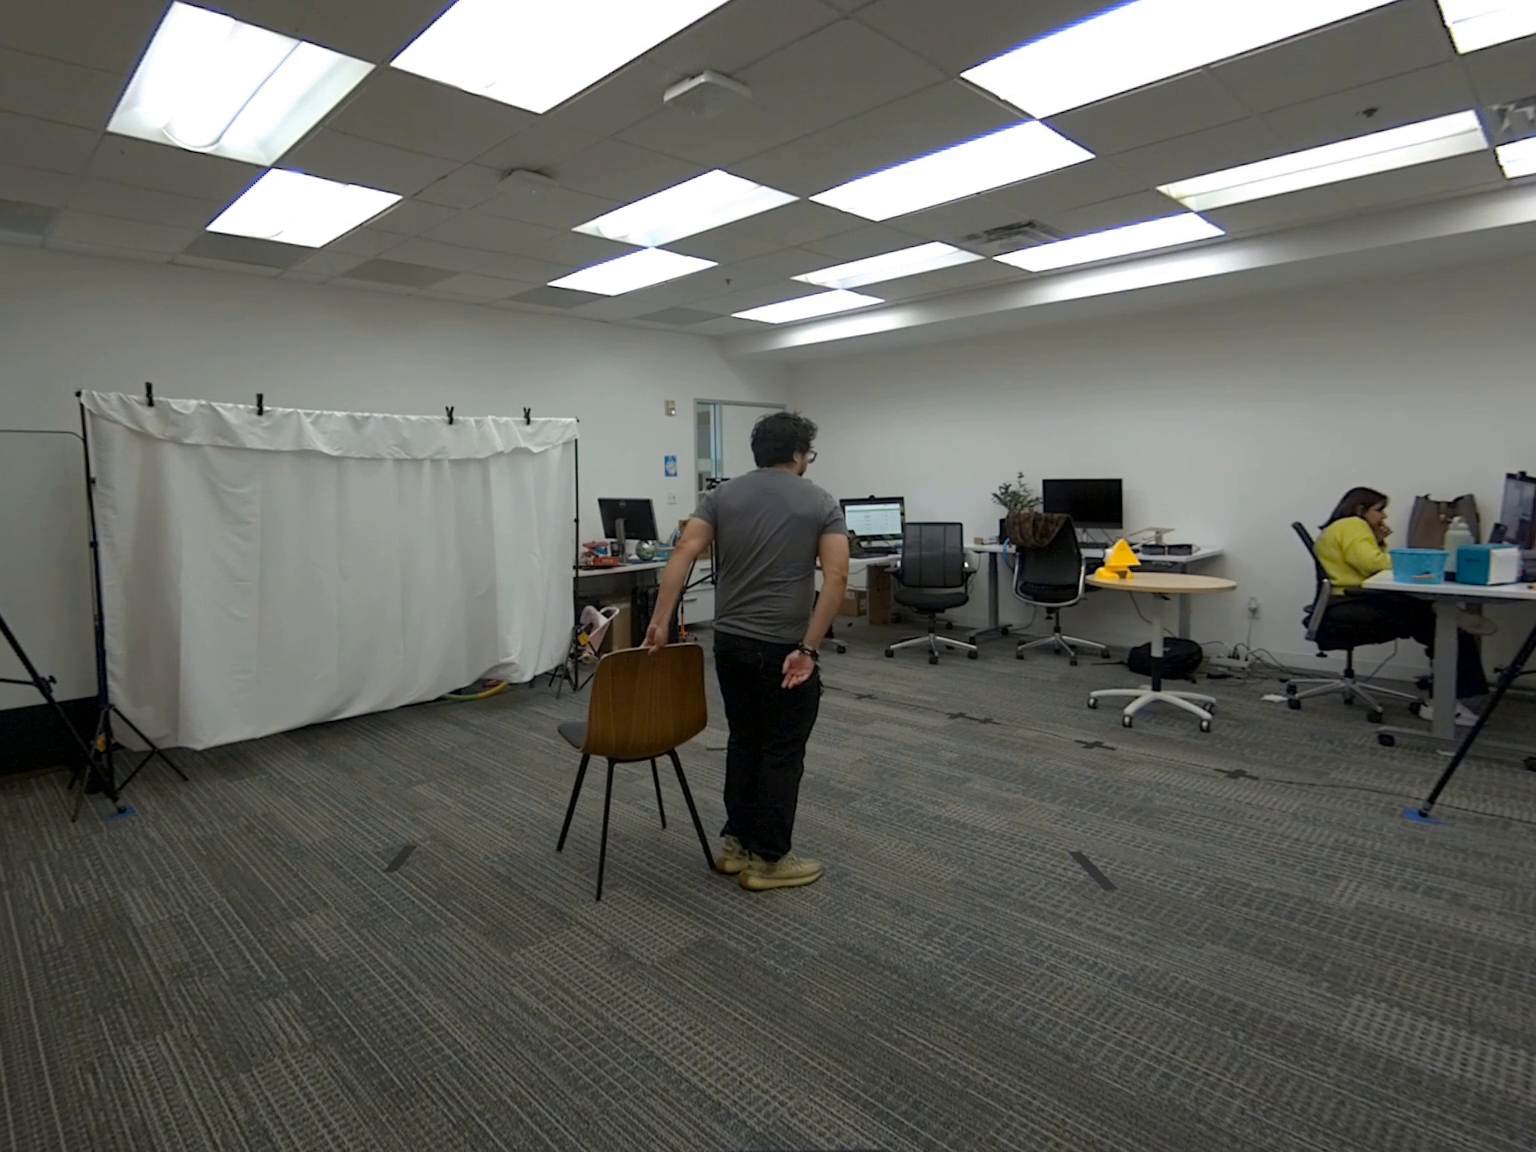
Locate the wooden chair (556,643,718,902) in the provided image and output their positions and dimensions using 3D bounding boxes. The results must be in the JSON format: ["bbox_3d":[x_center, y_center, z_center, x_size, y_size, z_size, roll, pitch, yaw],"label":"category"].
[{"bbox_3d":[-0.500,0.622,3.110,0.467,0.871,0.539,-4,10,-30],"label":"wooden chair"}]
